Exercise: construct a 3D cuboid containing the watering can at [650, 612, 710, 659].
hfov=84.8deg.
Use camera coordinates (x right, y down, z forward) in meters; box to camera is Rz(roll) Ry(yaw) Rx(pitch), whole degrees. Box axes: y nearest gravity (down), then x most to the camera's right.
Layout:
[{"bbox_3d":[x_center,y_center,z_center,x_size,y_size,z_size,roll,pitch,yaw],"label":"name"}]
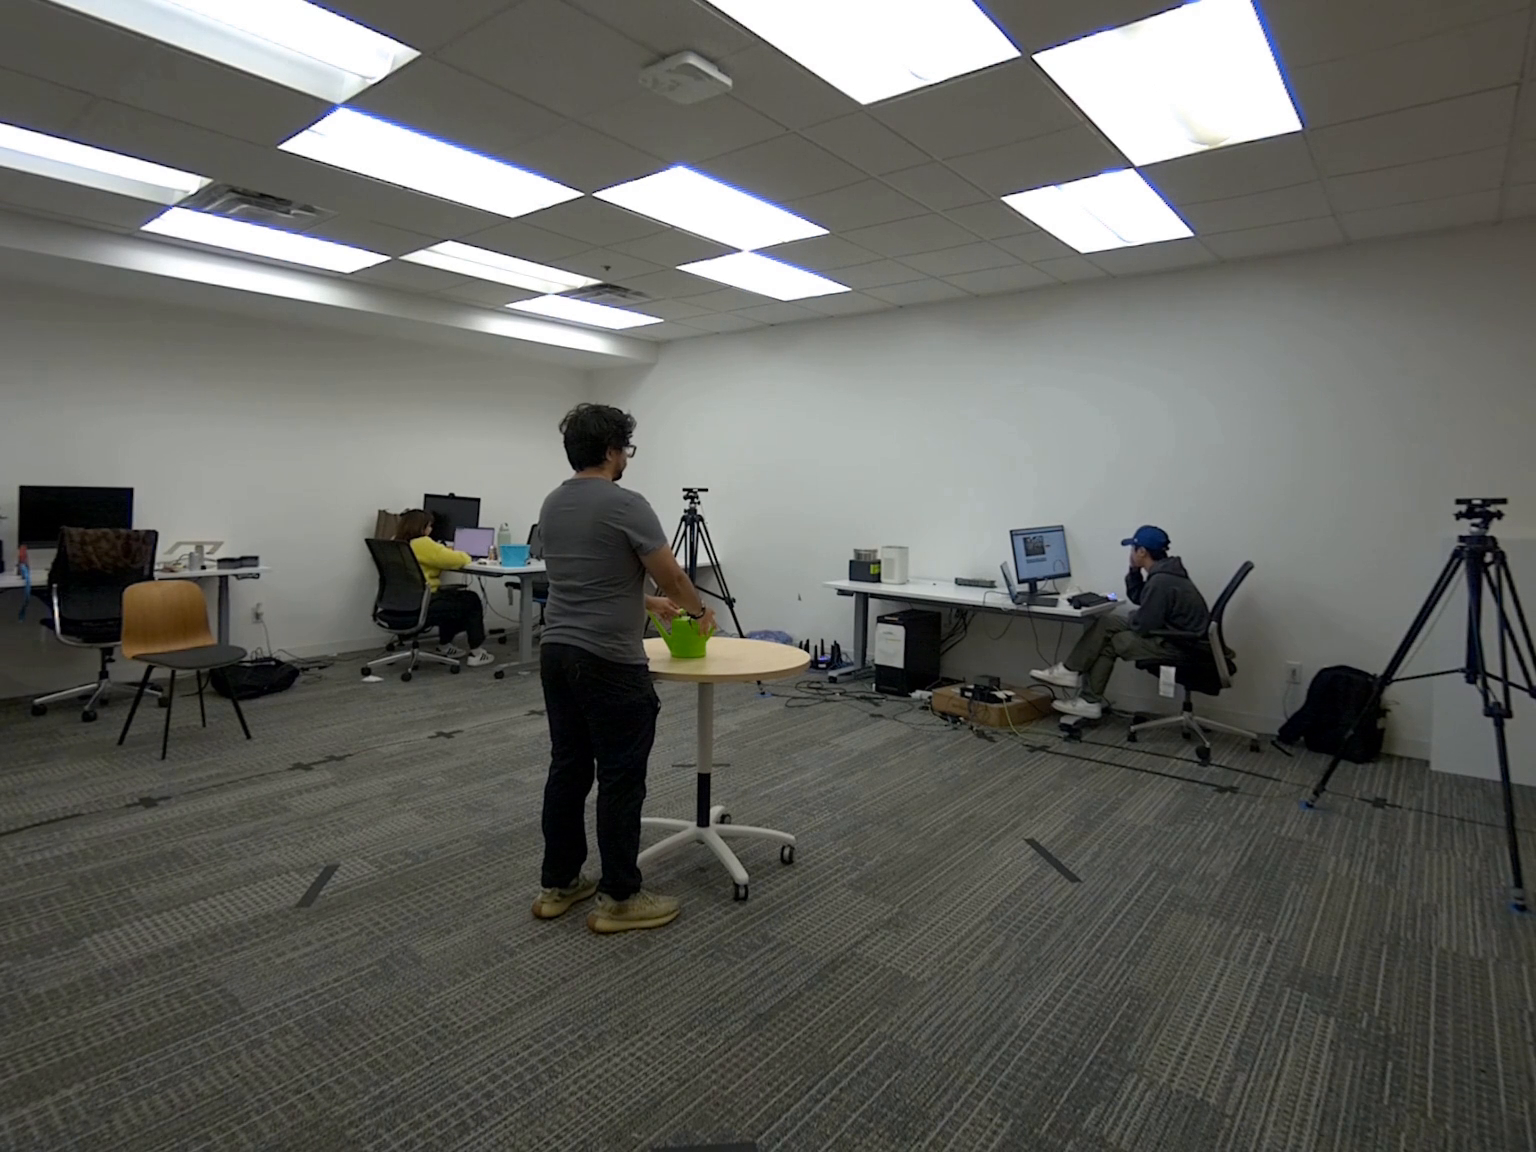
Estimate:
[{"bbox_3d":[-0.339,0.206,3.084,0.278,0.176,0.098,2,3,1],"label":"watering can"}]
